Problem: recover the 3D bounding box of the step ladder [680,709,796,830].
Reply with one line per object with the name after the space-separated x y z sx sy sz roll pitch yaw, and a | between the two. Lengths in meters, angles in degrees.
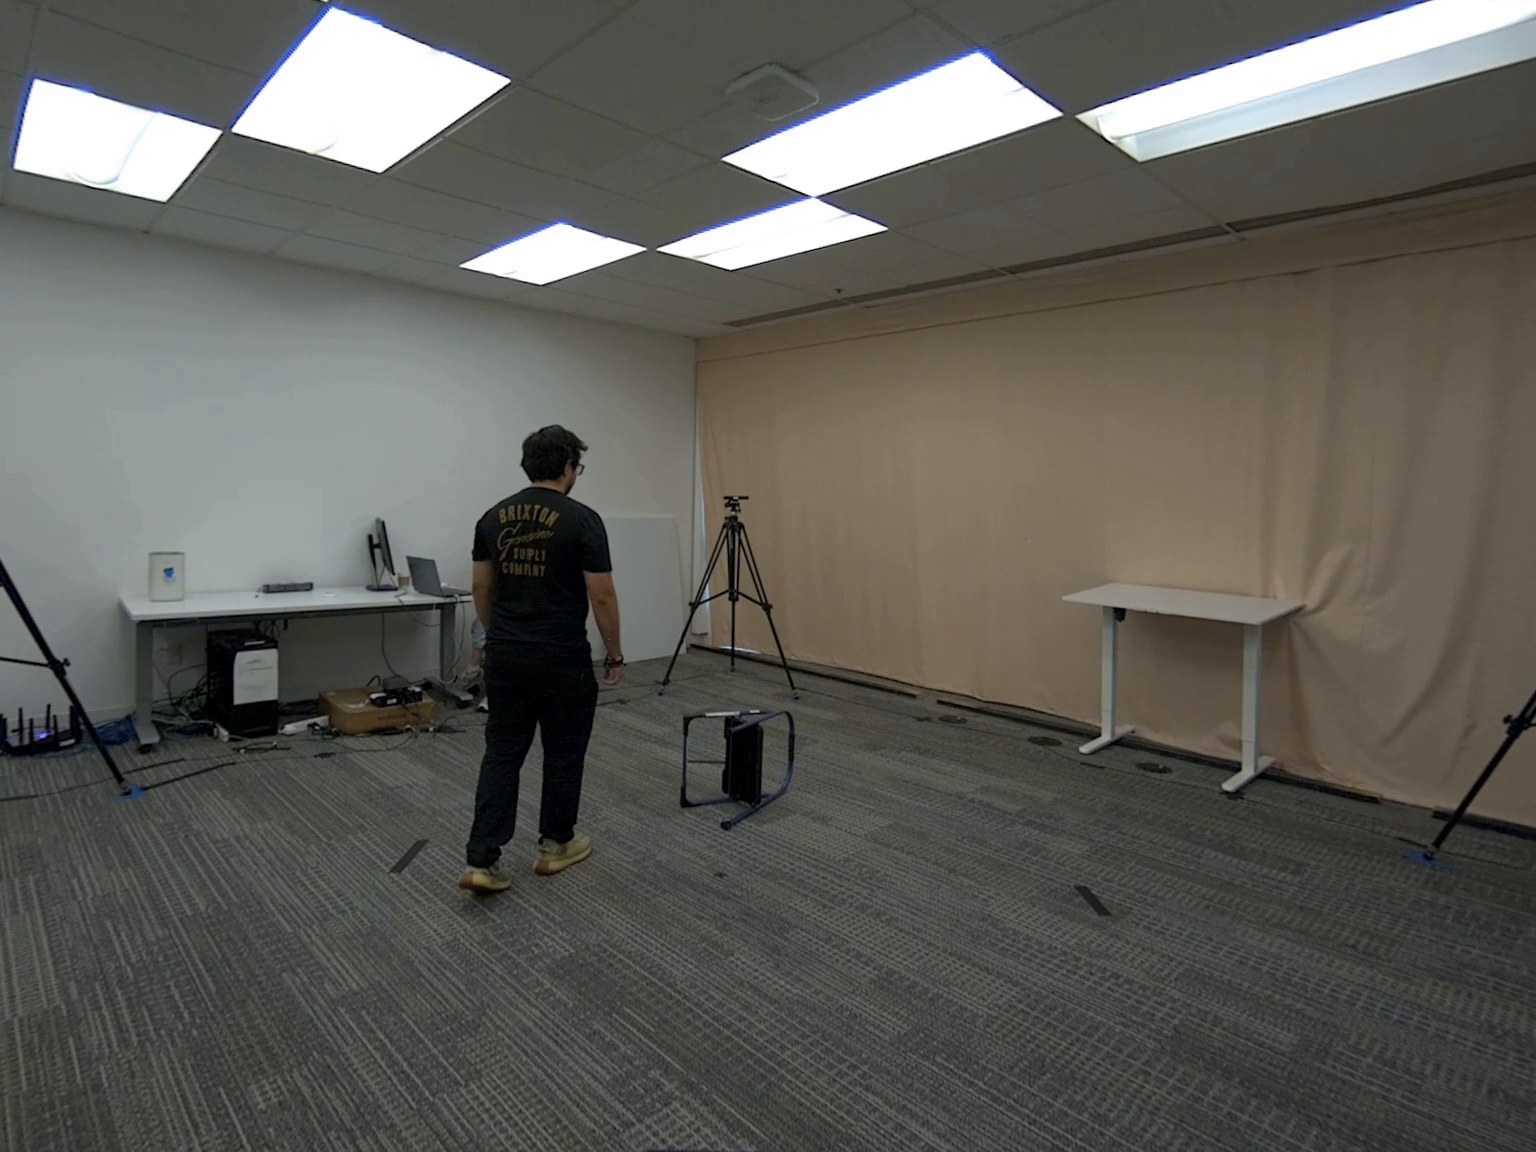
-0.064 0.834 3.831 0.592 0.430 0.358 0 4 -41 | step ladder
